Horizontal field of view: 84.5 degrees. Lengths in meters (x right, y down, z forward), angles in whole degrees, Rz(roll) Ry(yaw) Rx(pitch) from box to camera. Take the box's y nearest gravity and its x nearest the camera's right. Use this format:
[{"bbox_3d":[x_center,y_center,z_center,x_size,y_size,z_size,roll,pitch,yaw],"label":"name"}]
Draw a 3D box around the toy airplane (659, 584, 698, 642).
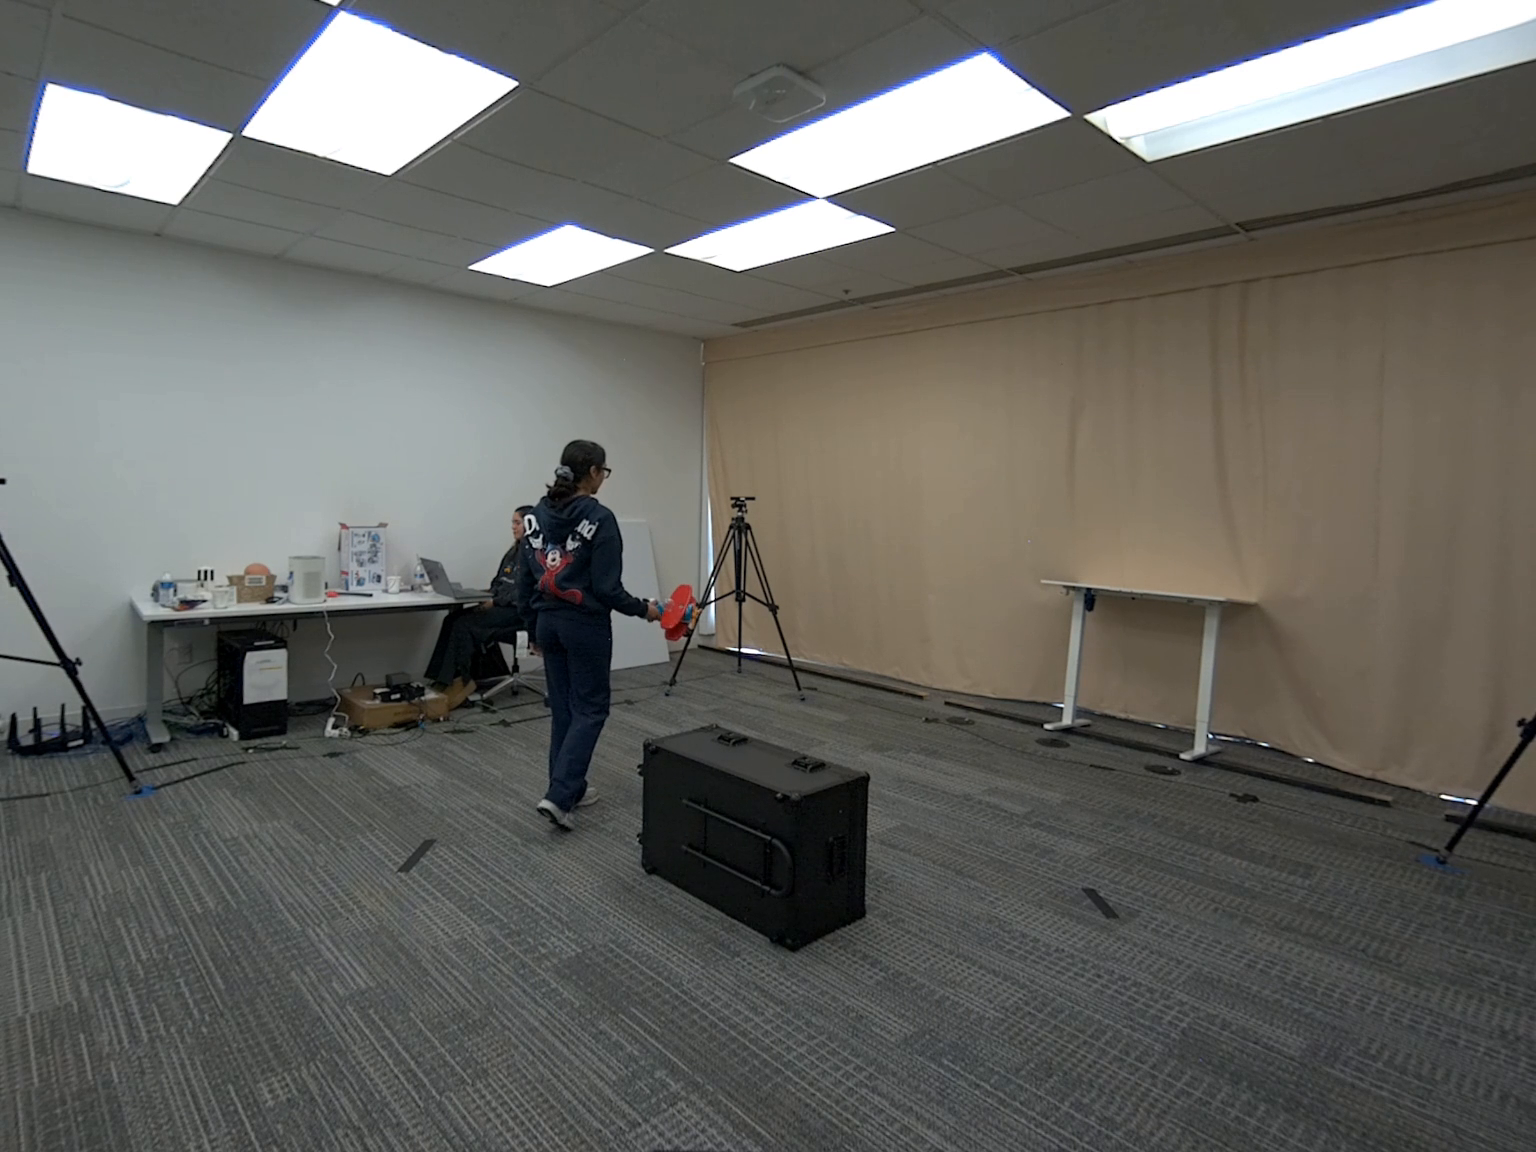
[{"bbox_3d":[-0.455,0.172,3.730,0.257,0.153,0.258,-8,50,-12],"label":"toy airplane"}]
